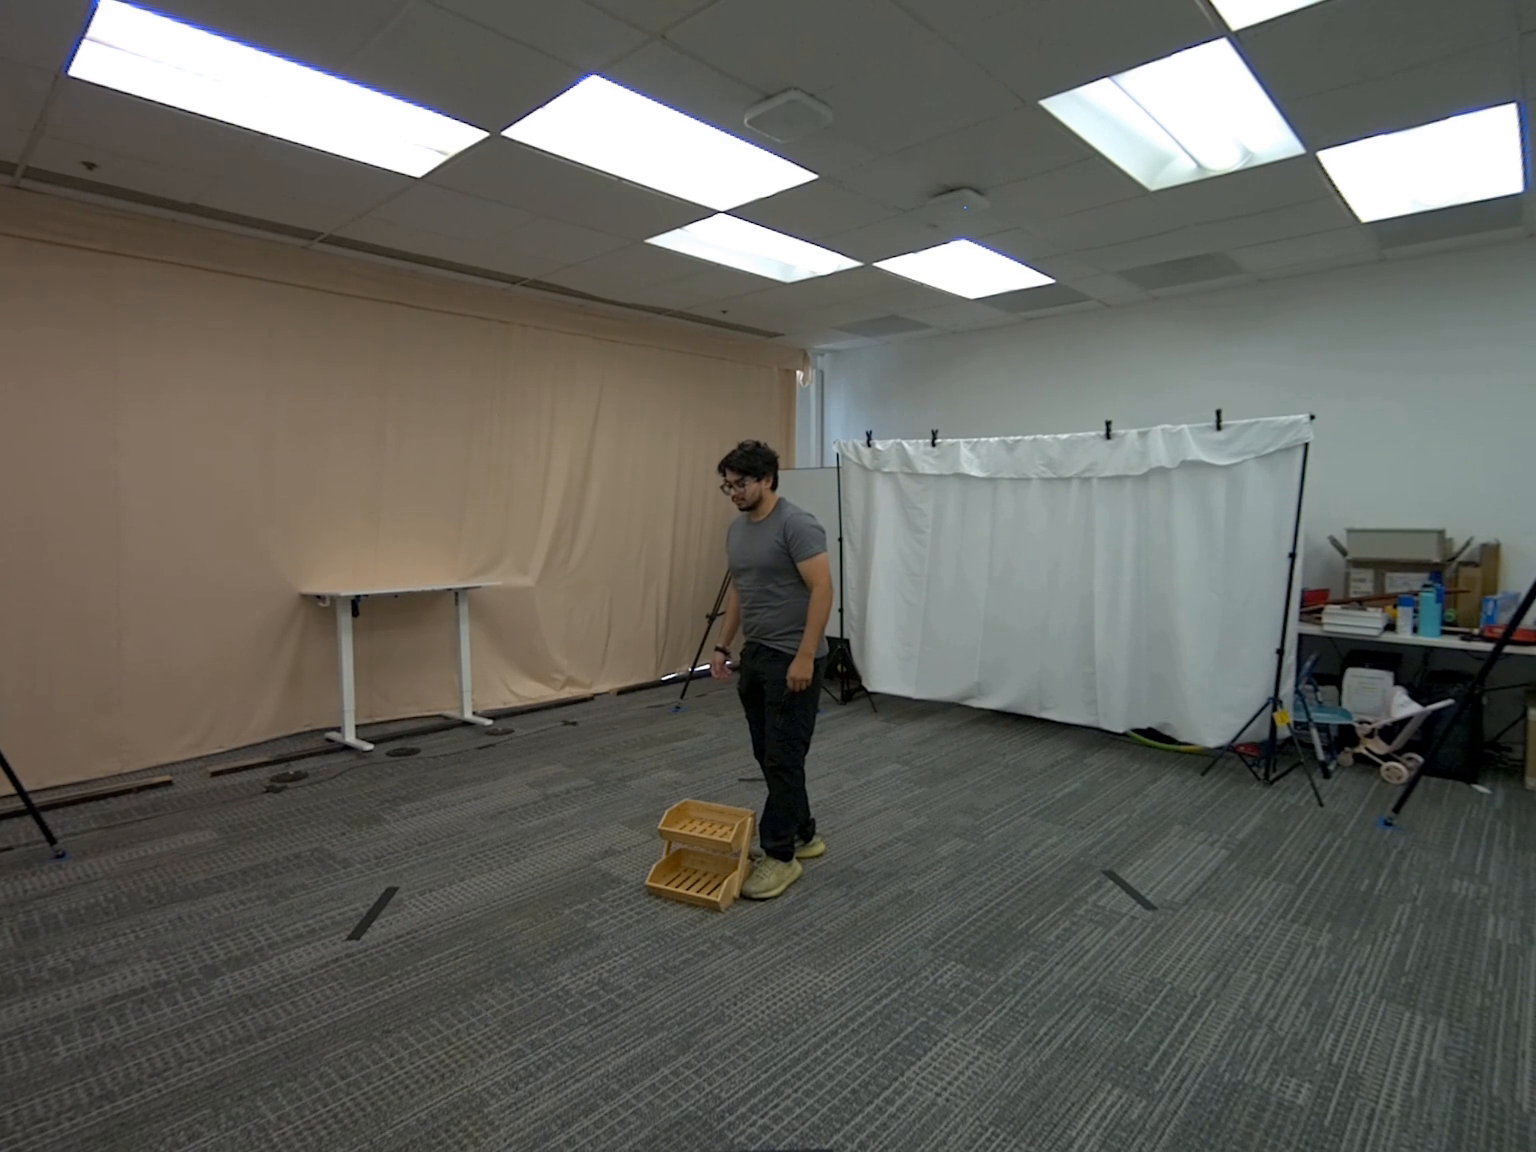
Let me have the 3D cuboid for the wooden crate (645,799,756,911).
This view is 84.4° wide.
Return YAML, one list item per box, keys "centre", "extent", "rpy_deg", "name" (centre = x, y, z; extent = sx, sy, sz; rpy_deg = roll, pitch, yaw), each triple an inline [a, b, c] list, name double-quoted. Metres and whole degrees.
- centre: [-0.245, 1.006, 3.063]
  extent: [0.333, 0.273, 0.295]
  rpy_deg: [2, 3, 26]
  name: "wooden crate"
